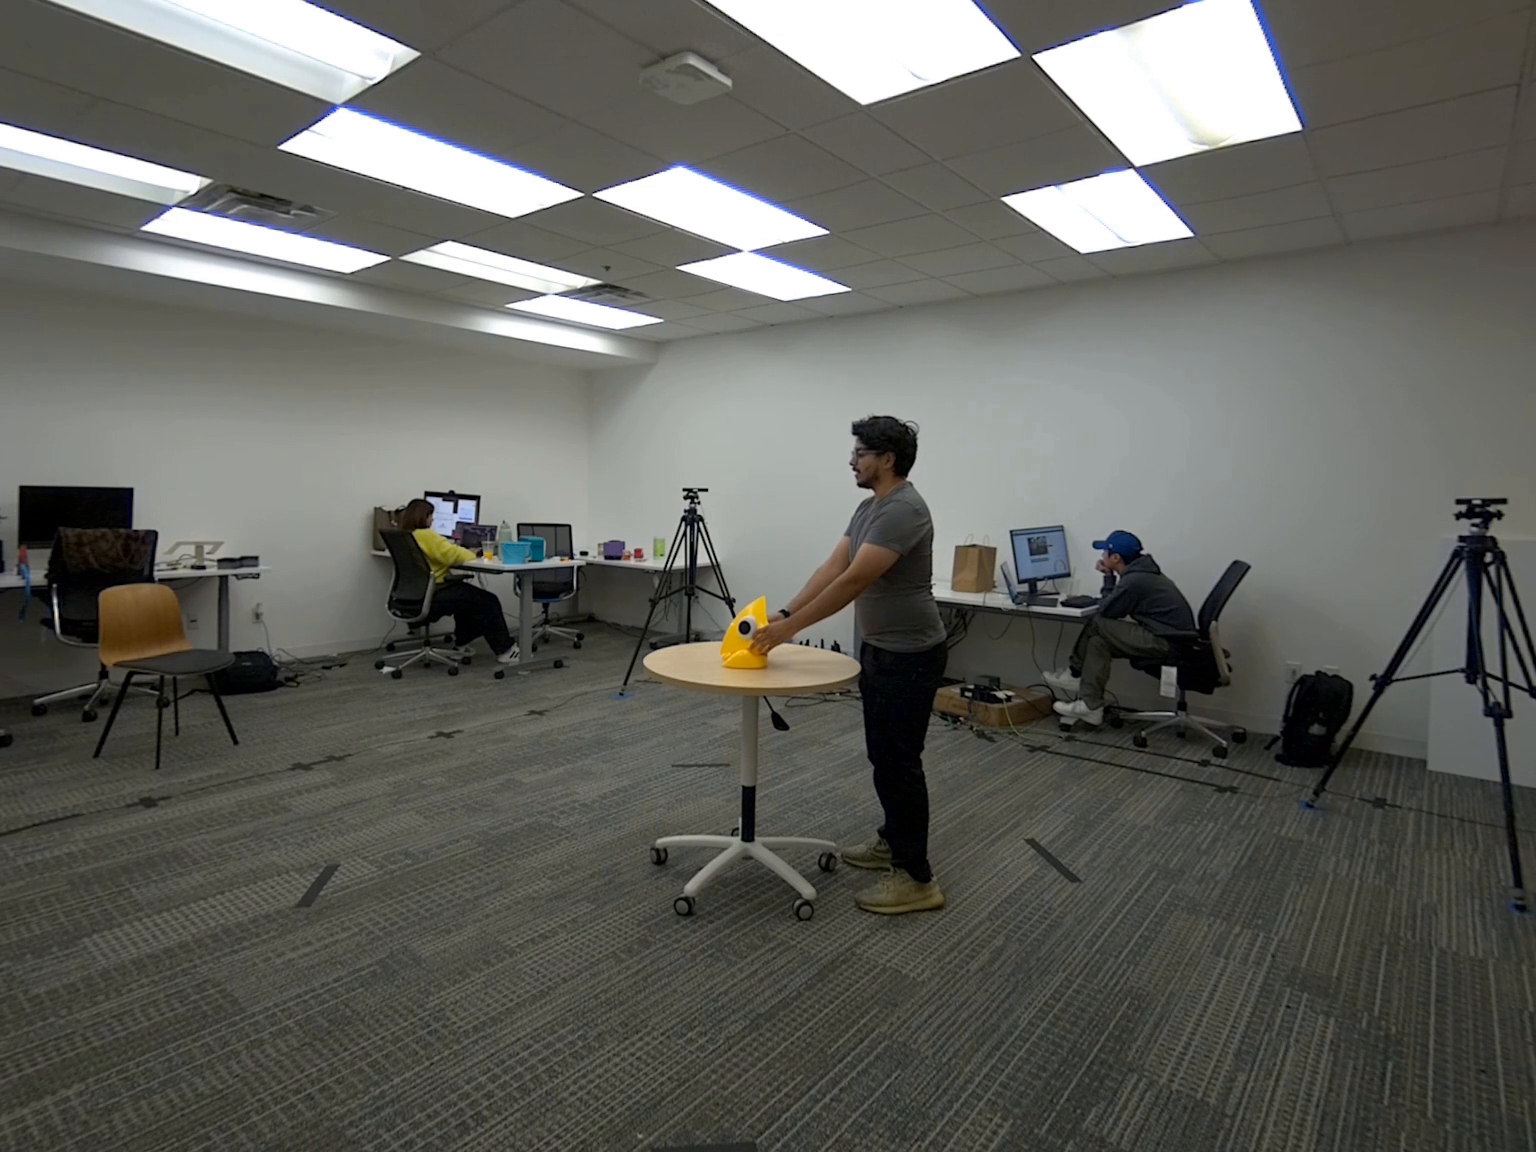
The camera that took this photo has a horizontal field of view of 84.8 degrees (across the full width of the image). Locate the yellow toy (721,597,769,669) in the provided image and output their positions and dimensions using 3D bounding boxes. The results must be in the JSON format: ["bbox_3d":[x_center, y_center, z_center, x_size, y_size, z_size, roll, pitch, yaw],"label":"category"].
[{"bbox_3d":[-0.082,0.181,2.978,0.193,0.230,0.206,-1,5,-3],"label":"yellow toy"}]
